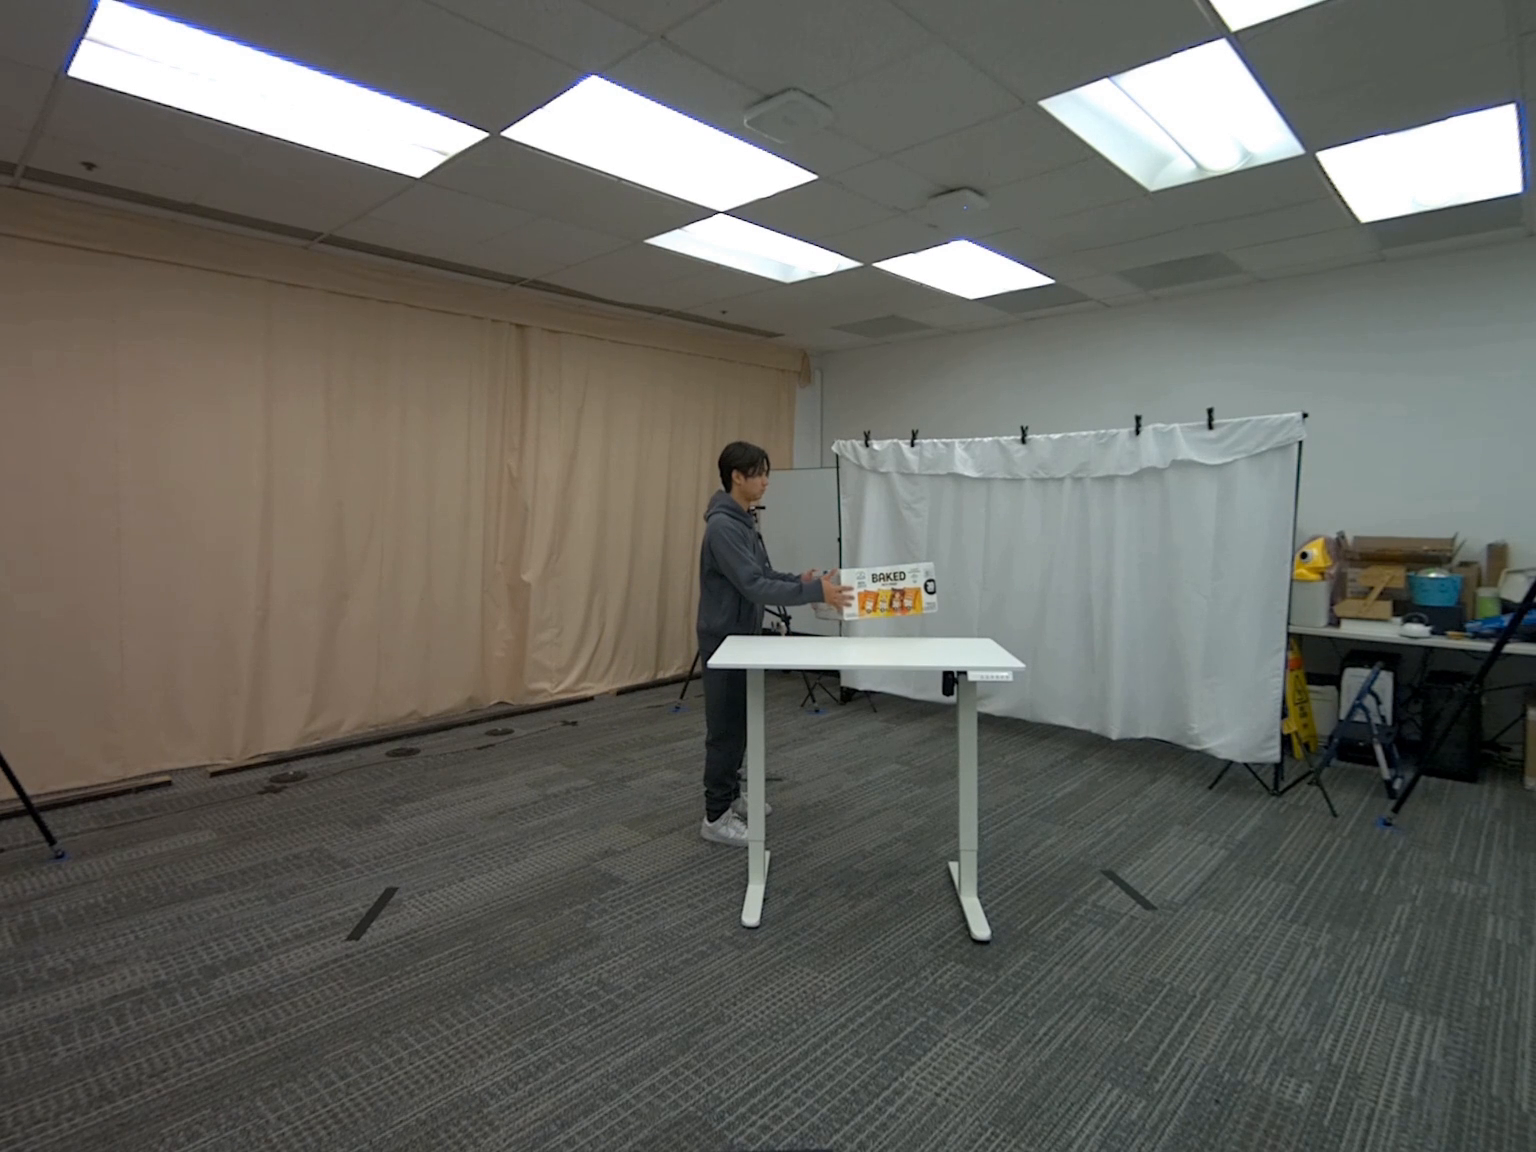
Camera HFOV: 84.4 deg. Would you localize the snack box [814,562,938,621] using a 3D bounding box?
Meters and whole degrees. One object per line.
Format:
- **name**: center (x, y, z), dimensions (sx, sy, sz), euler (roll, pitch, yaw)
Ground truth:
- **snack box**: center (0.442, 0.069, 3.504), dimensions (0.400, 0.206, 0.345), euler (-4, -1, -14)
